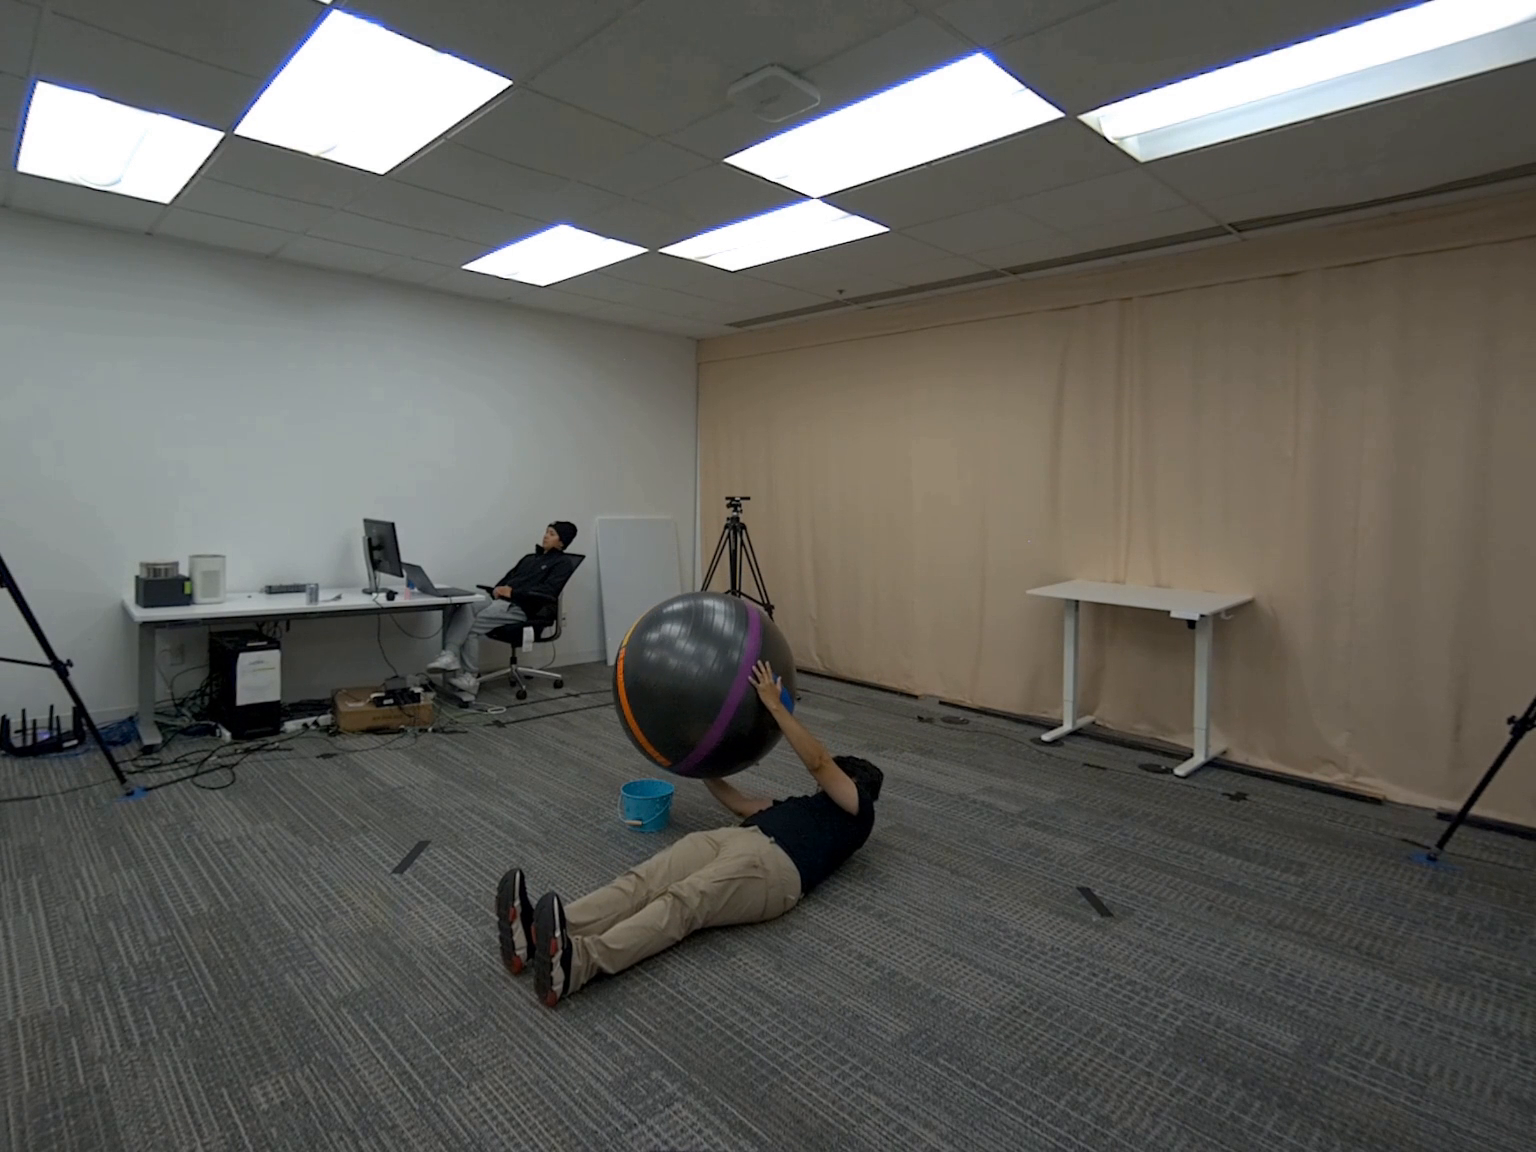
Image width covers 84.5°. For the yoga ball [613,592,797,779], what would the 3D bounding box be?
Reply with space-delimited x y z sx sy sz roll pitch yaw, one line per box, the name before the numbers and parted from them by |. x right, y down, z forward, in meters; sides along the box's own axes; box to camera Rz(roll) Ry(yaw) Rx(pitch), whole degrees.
yoga ball | -0.264 0.446 3.471 0.757 0.755 0.761 1 5 -1
